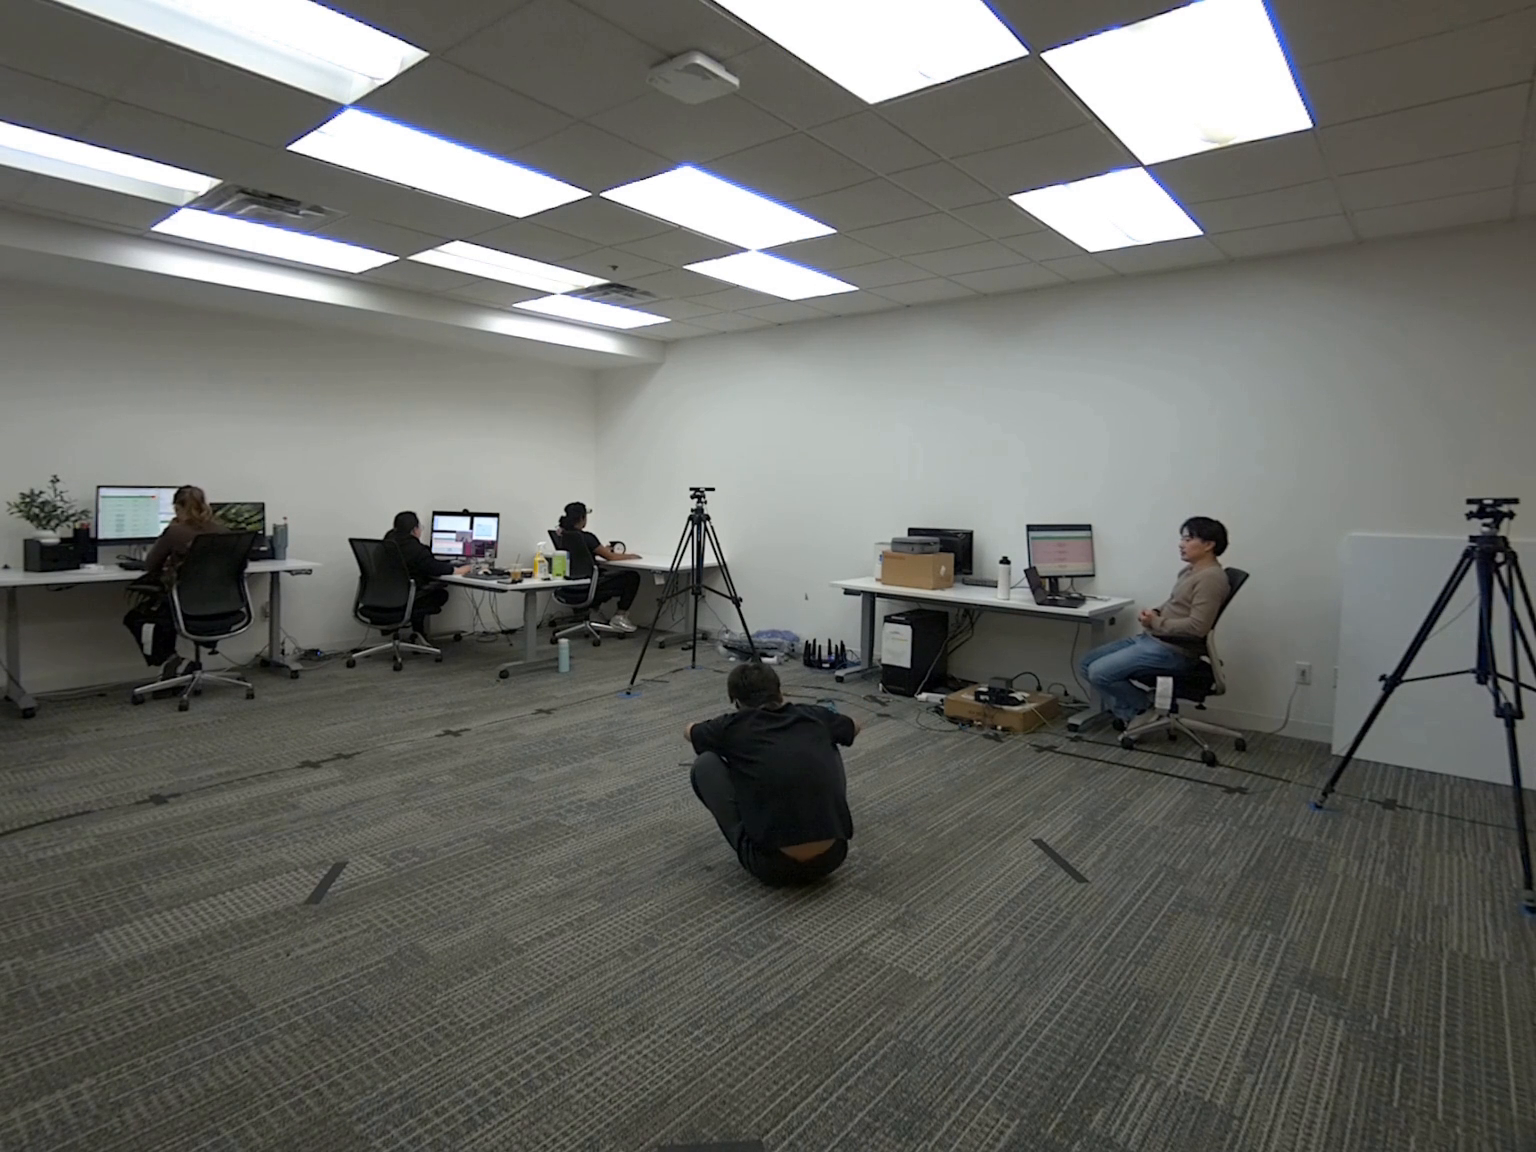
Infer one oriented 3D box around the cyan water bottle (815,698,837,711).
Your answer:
[{"bbox_3d":[0.246,0.669,3.738,0.092,0.287,0.091,1,-14,-2],"label":"cyan water bottle"}]
